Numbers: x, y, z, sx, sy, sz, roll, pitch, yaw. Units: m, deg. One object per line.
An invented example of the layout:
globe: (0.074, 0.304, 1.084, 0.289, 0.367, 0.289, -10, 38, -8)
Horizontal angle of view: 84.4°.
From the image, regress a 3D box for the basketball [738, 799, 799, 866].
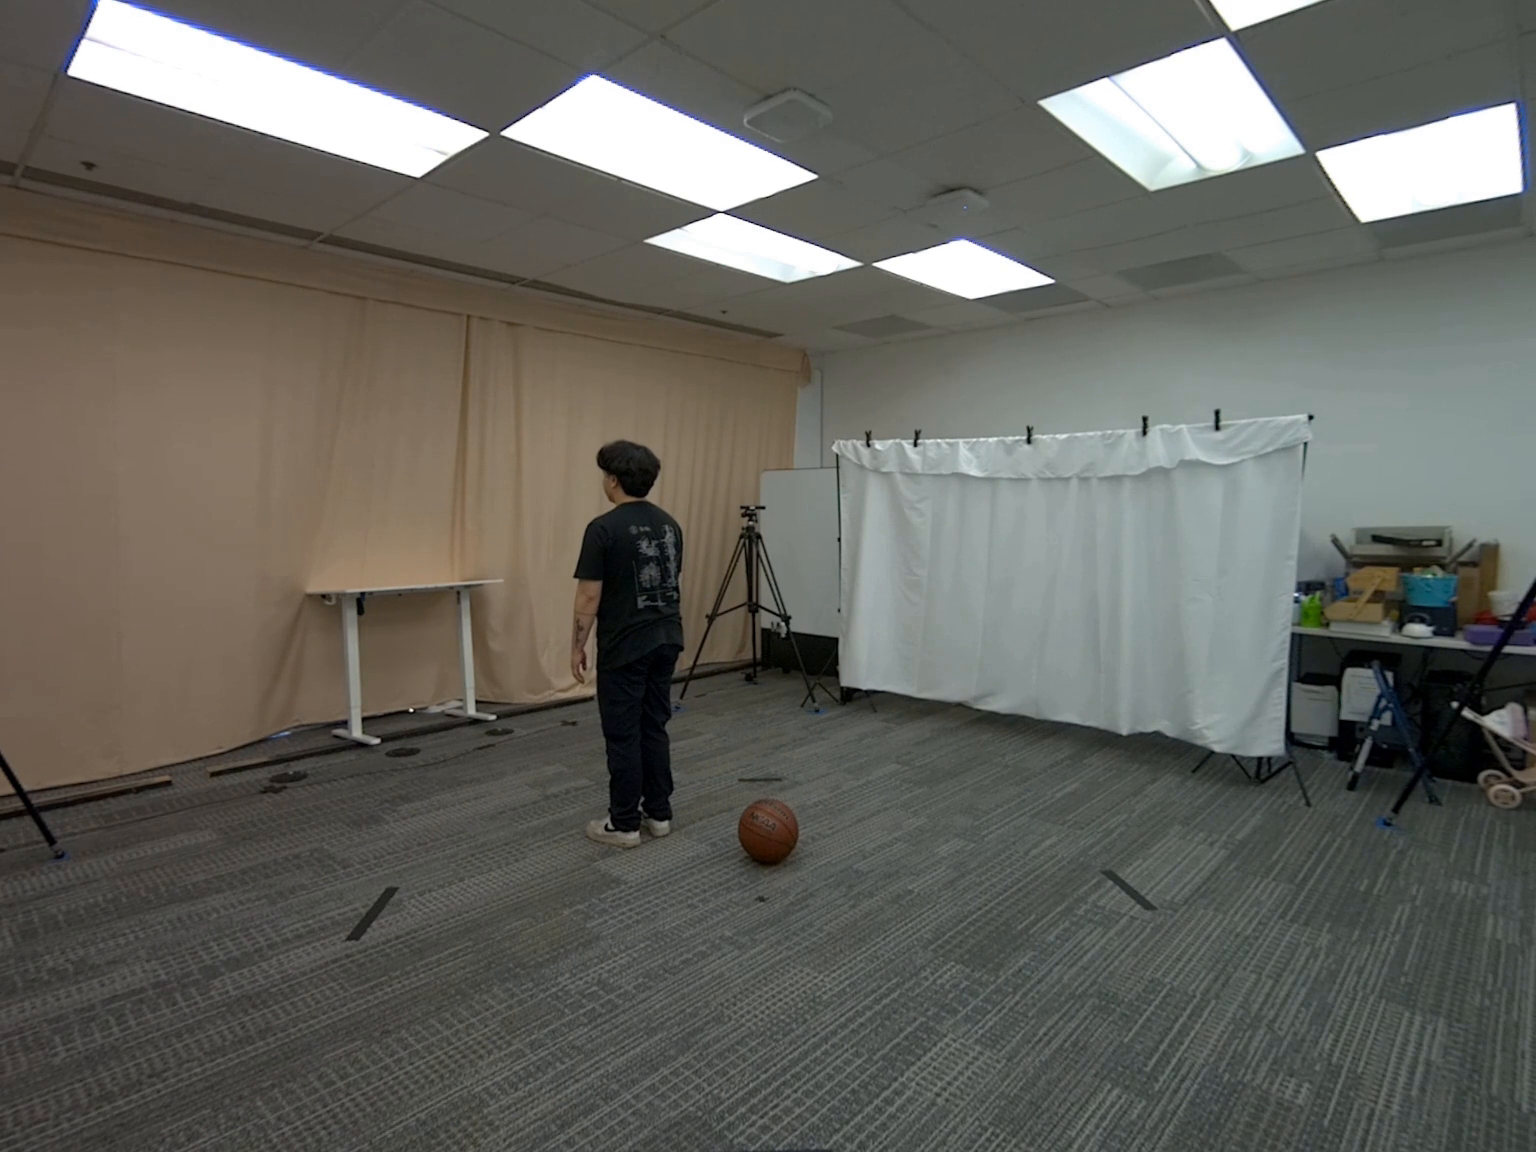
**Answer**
basketball: (0.006, 0.996, 3.300, 0.236, 0.235, 0.237, 0, 4, -2)
